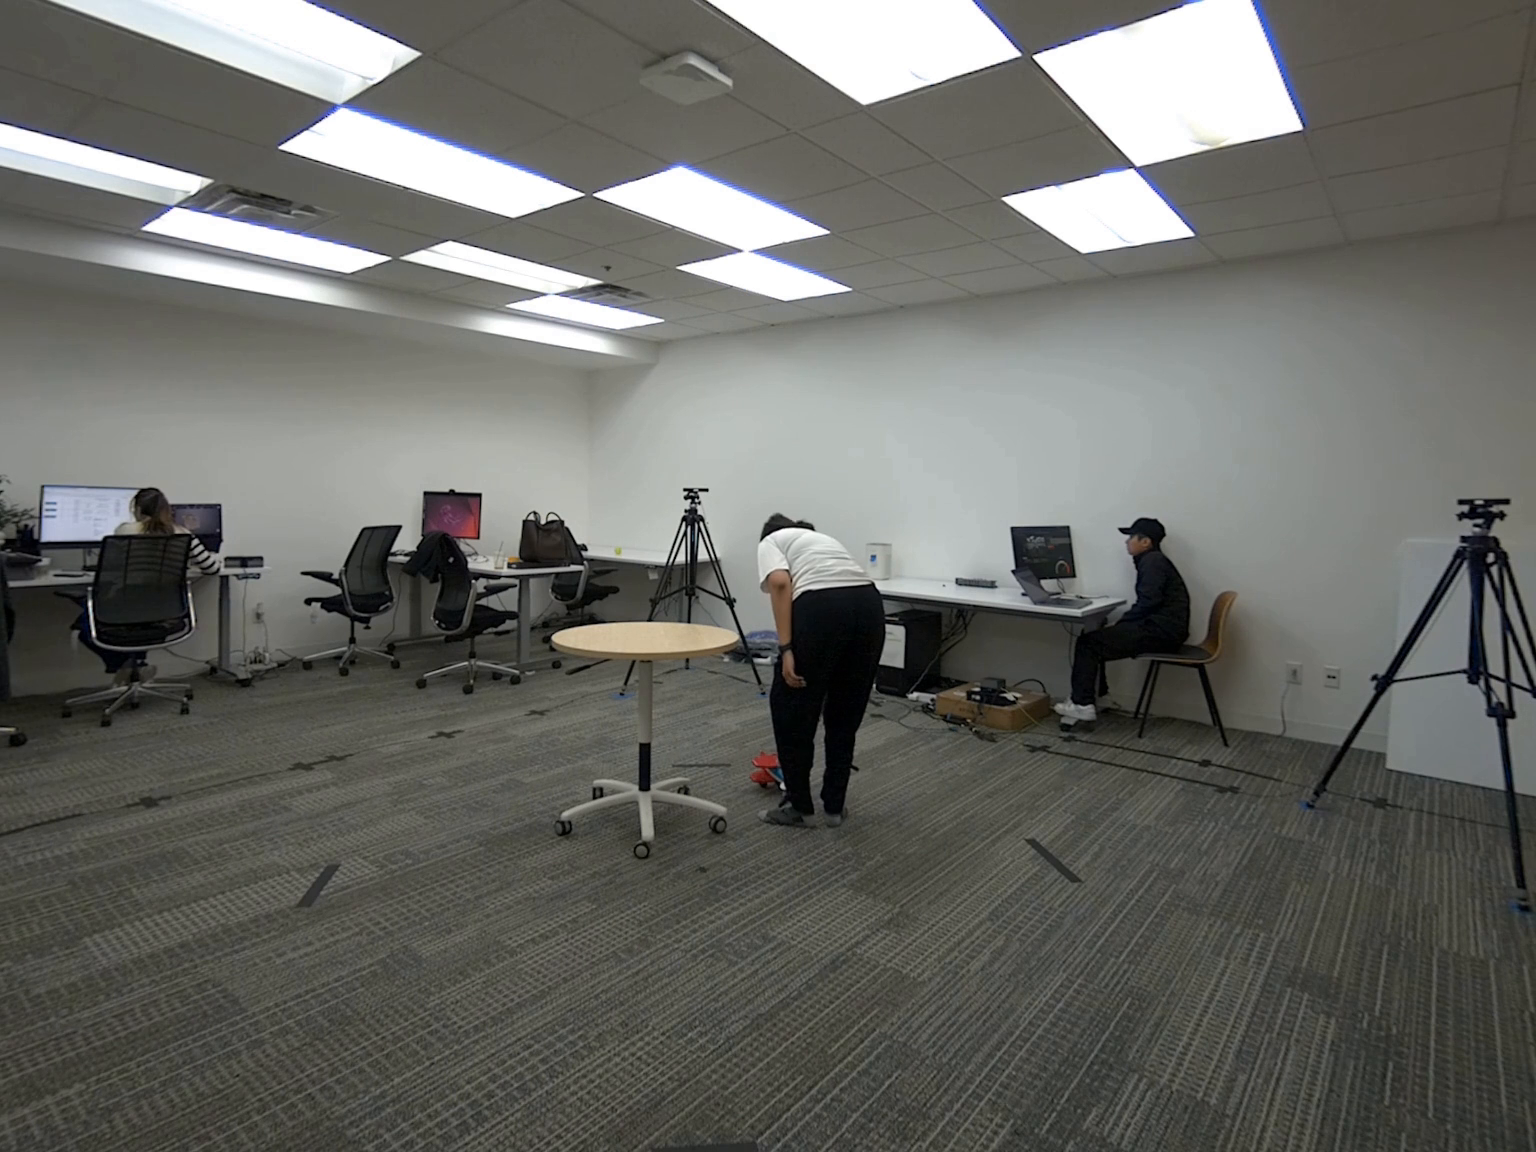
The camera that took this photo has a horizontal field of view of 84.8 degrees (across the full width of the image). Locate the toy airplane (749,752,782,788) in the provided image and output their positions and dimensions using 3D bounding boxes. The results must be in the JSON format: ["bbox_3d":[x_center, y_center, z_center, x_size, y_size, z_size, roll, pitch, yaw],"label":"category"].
[{"bbox_3d":[0.060,0.920,3.963,0.267,0.156,0.244,3,5,34],"label":"toy airplane"}]
